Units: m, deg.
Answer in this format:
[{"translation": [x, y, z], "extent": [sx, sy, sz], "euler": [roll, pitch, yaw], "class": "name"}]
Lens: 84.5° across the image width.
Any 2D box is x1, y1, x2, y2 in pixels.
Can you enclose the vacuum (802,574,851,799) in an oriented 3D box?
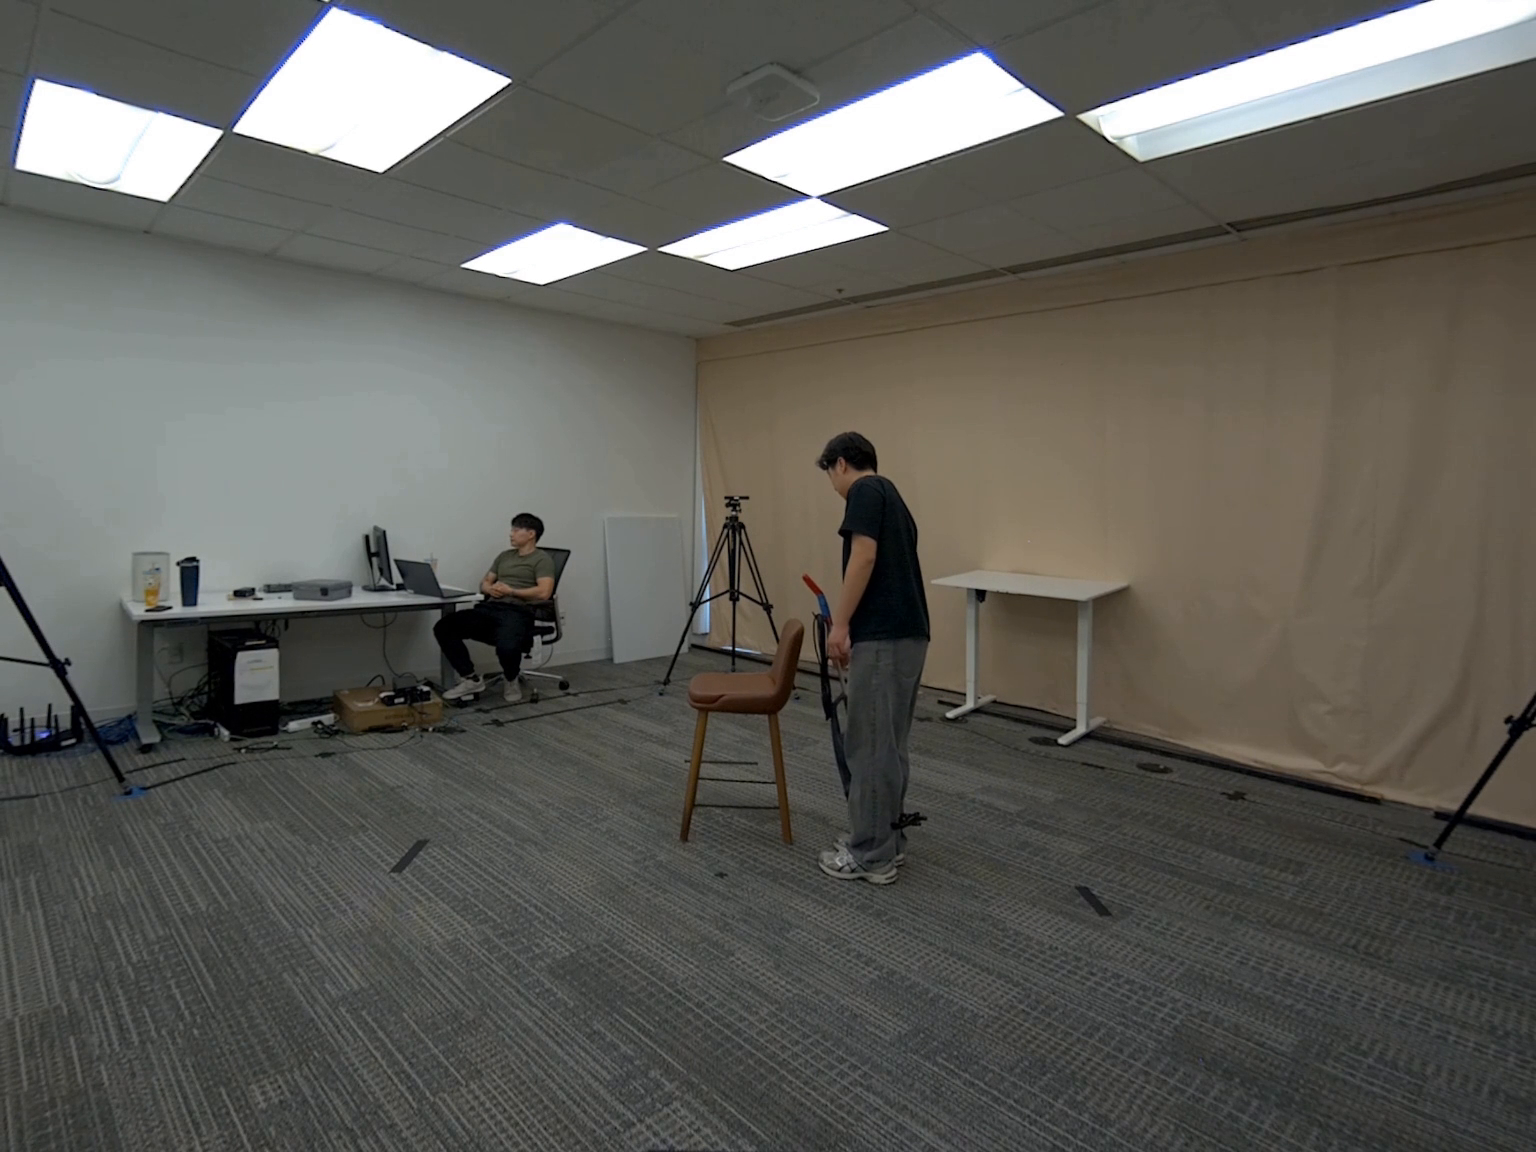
[{"translation": [0.278, 0.518, 3.558], "extent": [0.144, 1.053, 0.251], "euler": [-14, -4, 0], "class": "vacuum"}]
